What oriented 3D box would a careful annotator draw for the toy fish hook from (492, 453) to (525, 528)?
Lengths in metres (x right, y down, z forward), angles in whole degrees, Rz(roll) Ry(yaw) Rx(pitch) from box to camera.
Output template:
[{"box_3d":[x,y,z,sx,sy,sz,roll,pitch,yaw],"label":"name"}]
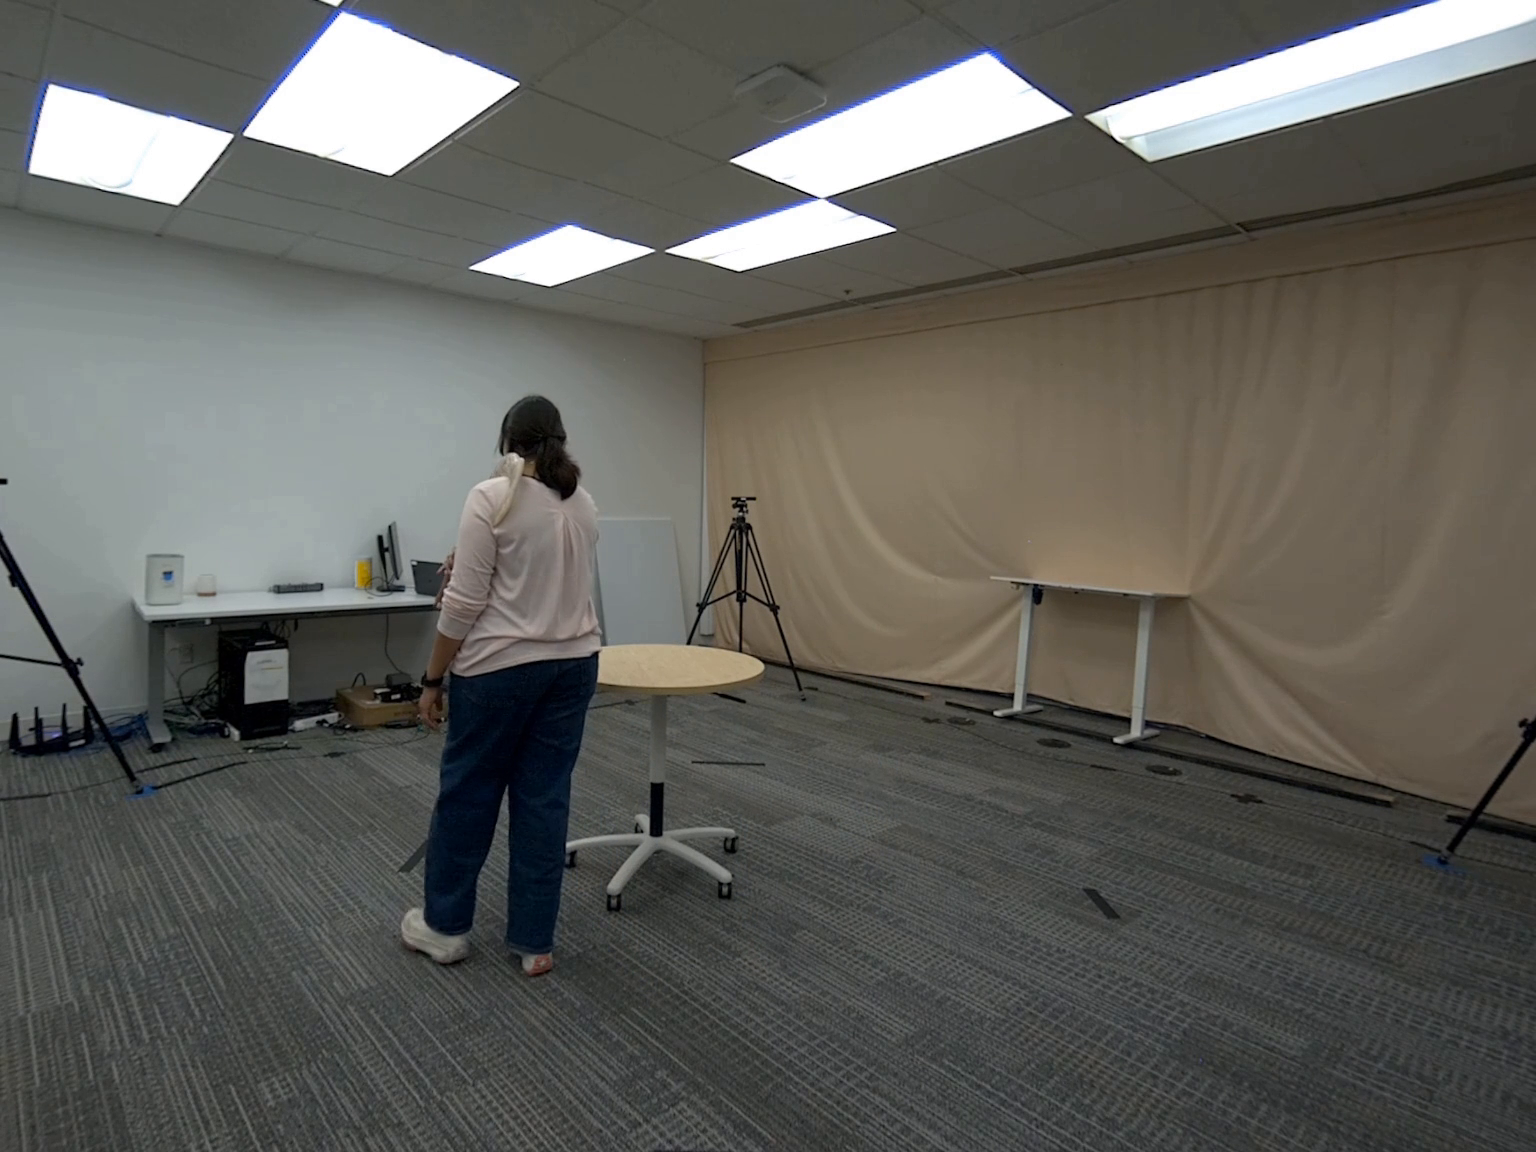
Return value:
[{"box_3d":[-0.812,-0.107,2.365,0.047,0.506,0.231,24,5,-32],"label":"toy fish hook"}]
